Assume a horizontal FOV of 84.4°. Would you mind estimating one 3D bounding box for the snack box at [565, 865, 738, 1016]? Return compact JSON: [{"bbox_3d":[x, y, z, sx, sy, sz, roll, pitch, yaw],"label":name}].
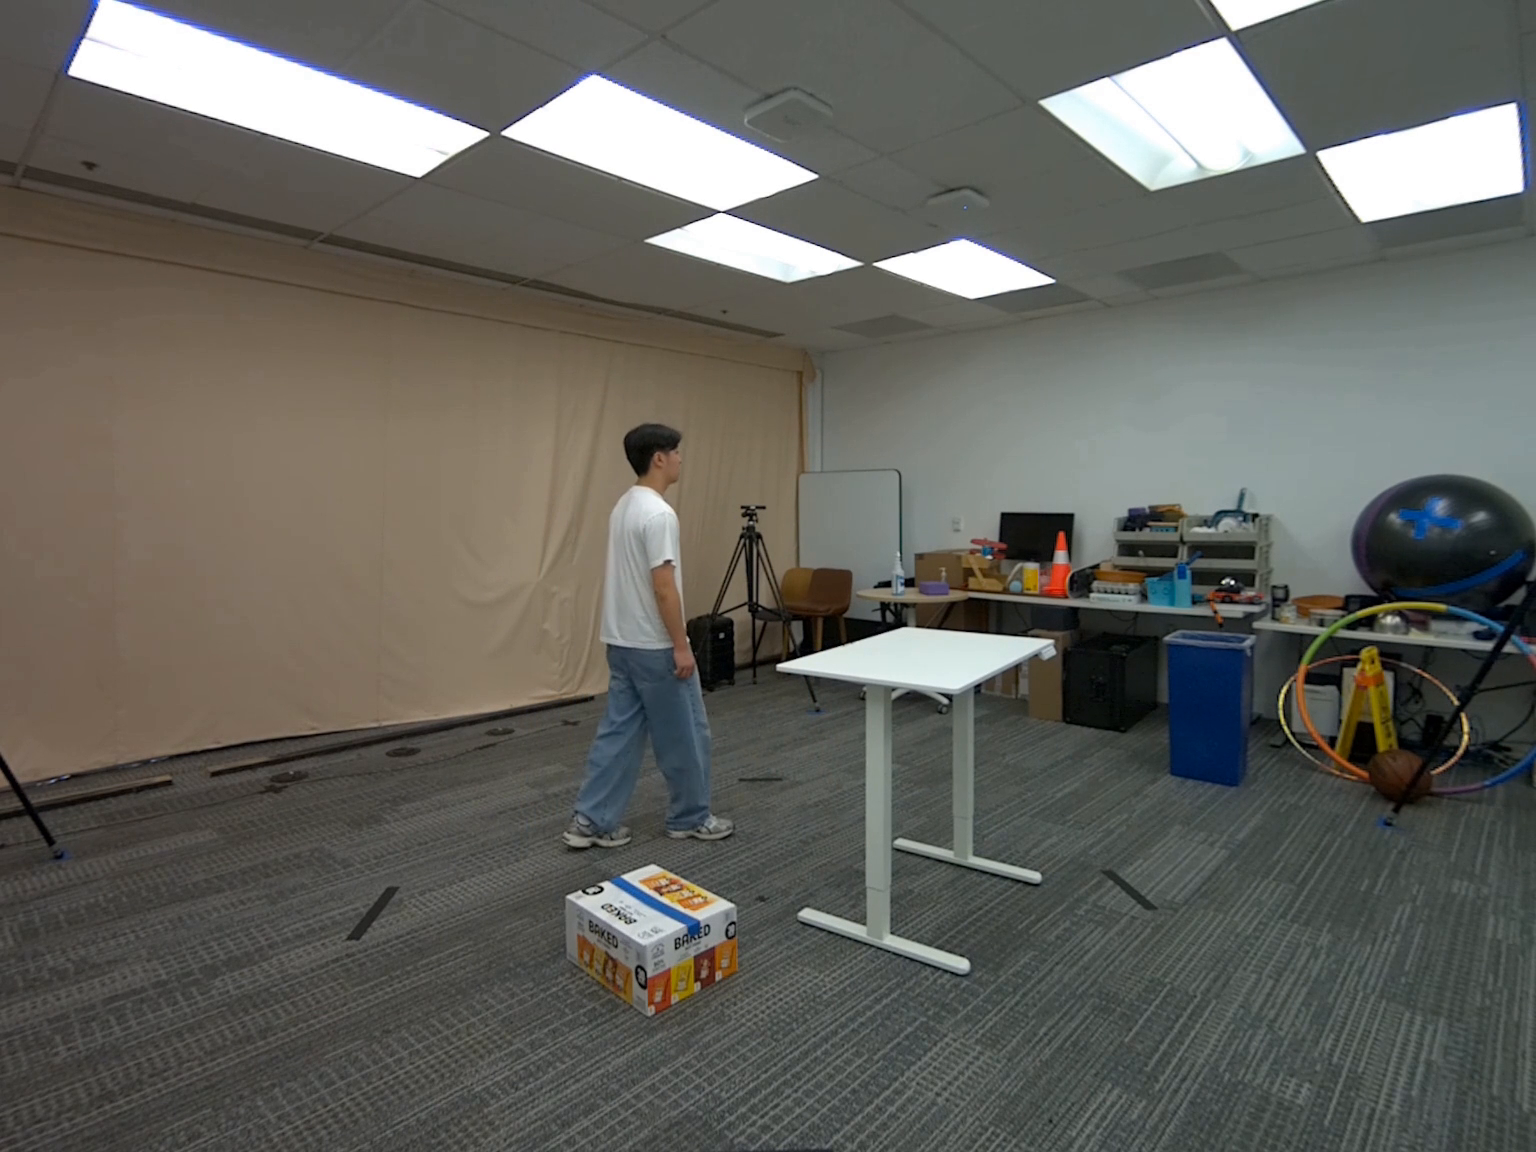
[{"bbox_3d":[-0.353,1.080,2.542,0.330,0.205,0.419,-4,6,-44],"label":"snack box"}]
